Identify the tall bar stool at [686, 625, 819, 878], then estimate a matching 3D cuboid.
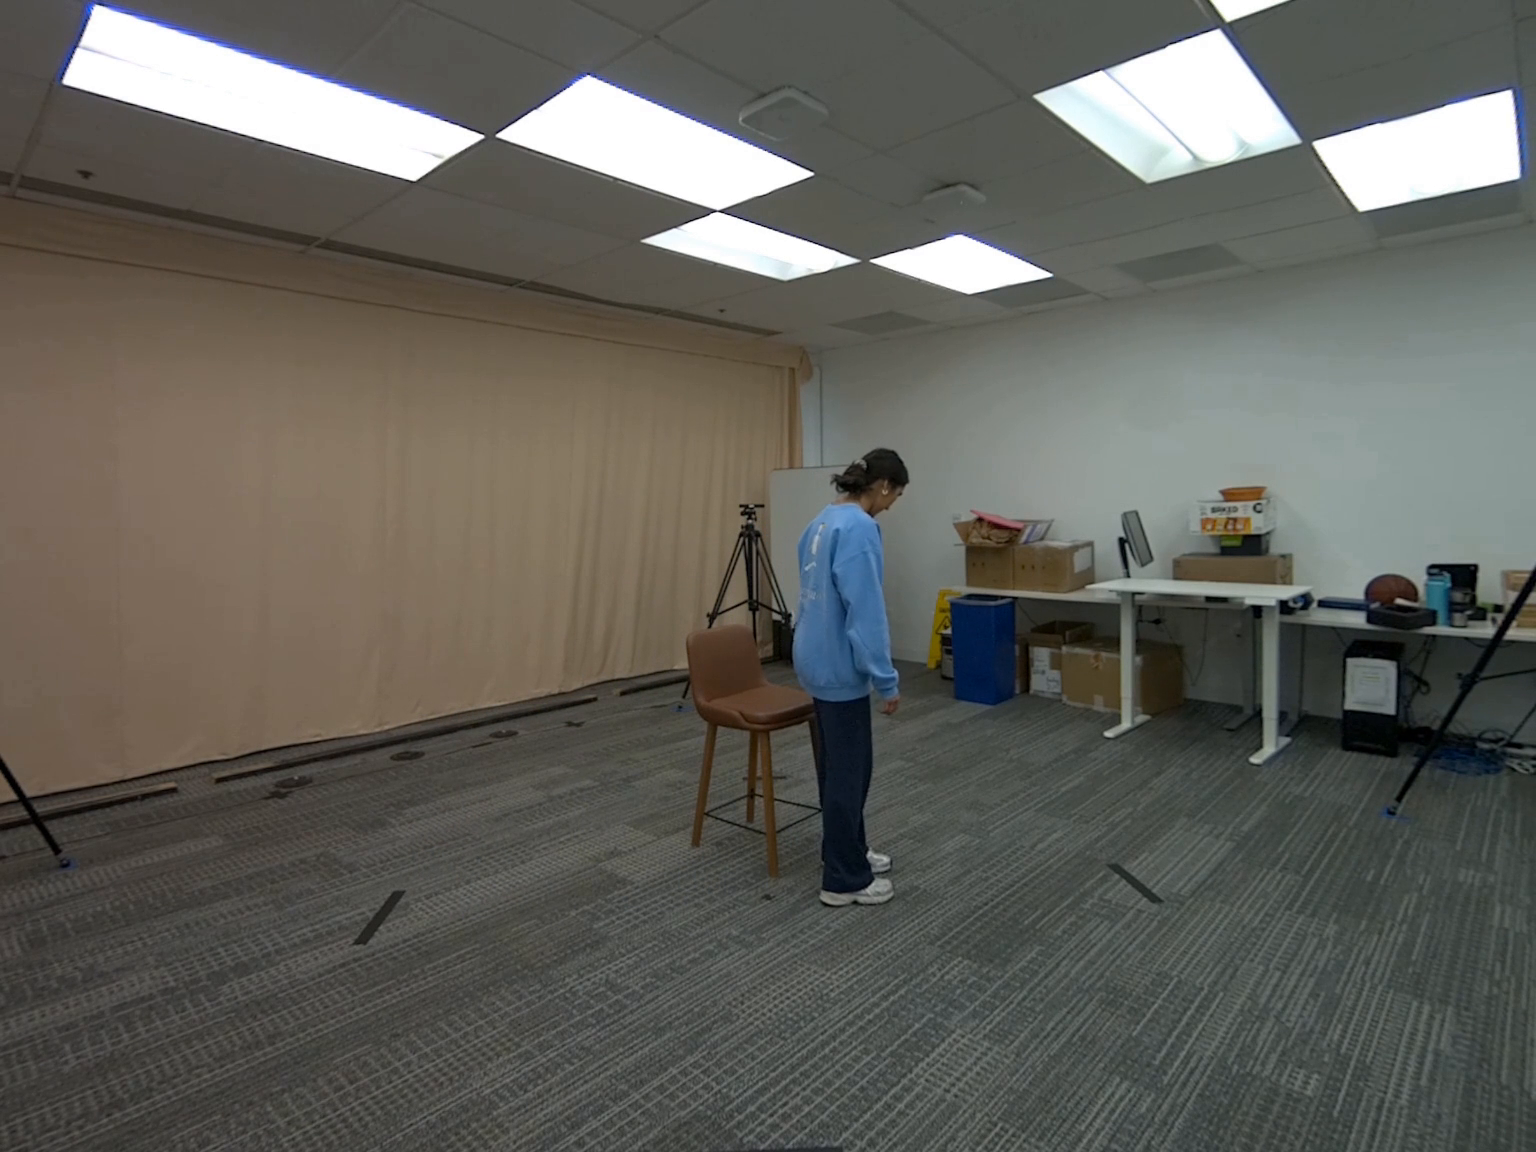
[{"bbox_3d":[-0.034,0.664,3.418,0.482,0.889,0.443,-1,2,41],"label":"tall bar stool"}]
